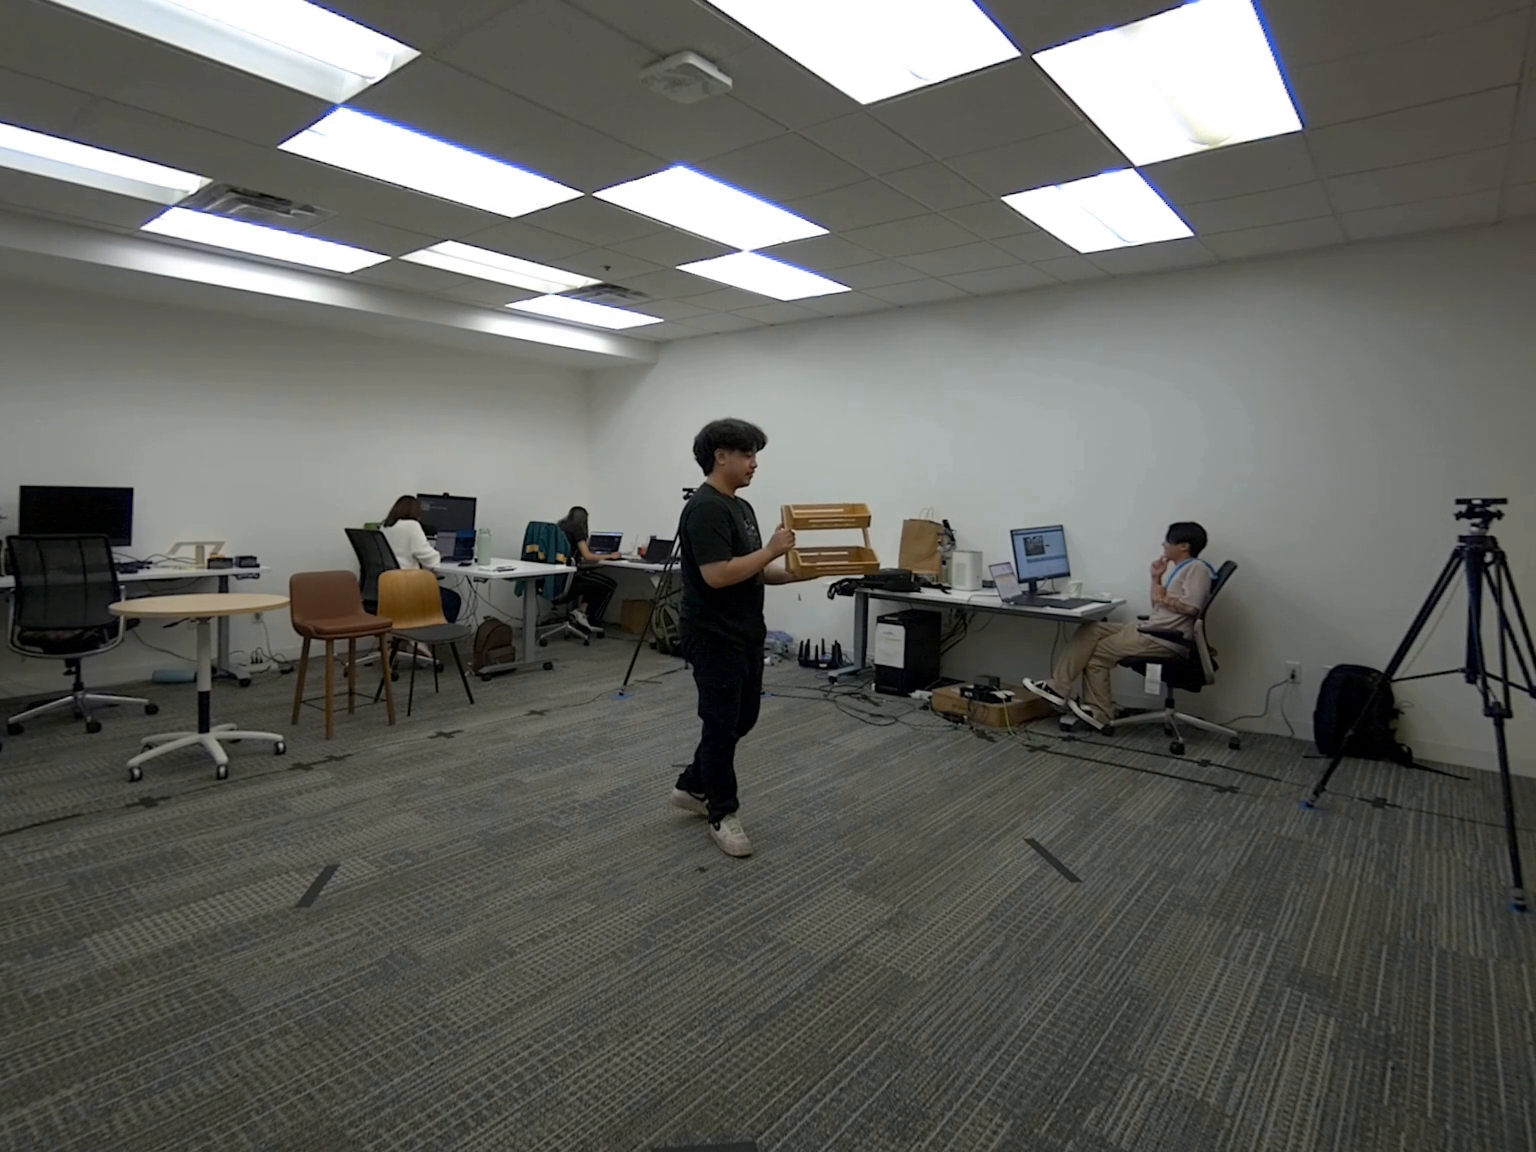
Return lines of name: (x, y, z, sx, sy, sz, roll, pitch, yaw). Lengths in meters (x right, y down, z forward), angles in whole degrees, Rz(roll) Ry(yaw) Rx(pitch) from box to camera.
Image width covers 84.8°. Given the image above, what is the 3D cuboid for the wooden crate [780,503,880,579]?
wooden crate: (0.220, -0.150, 3.234, 0.321, 0.273, 0.306, -2, 3, -10)
